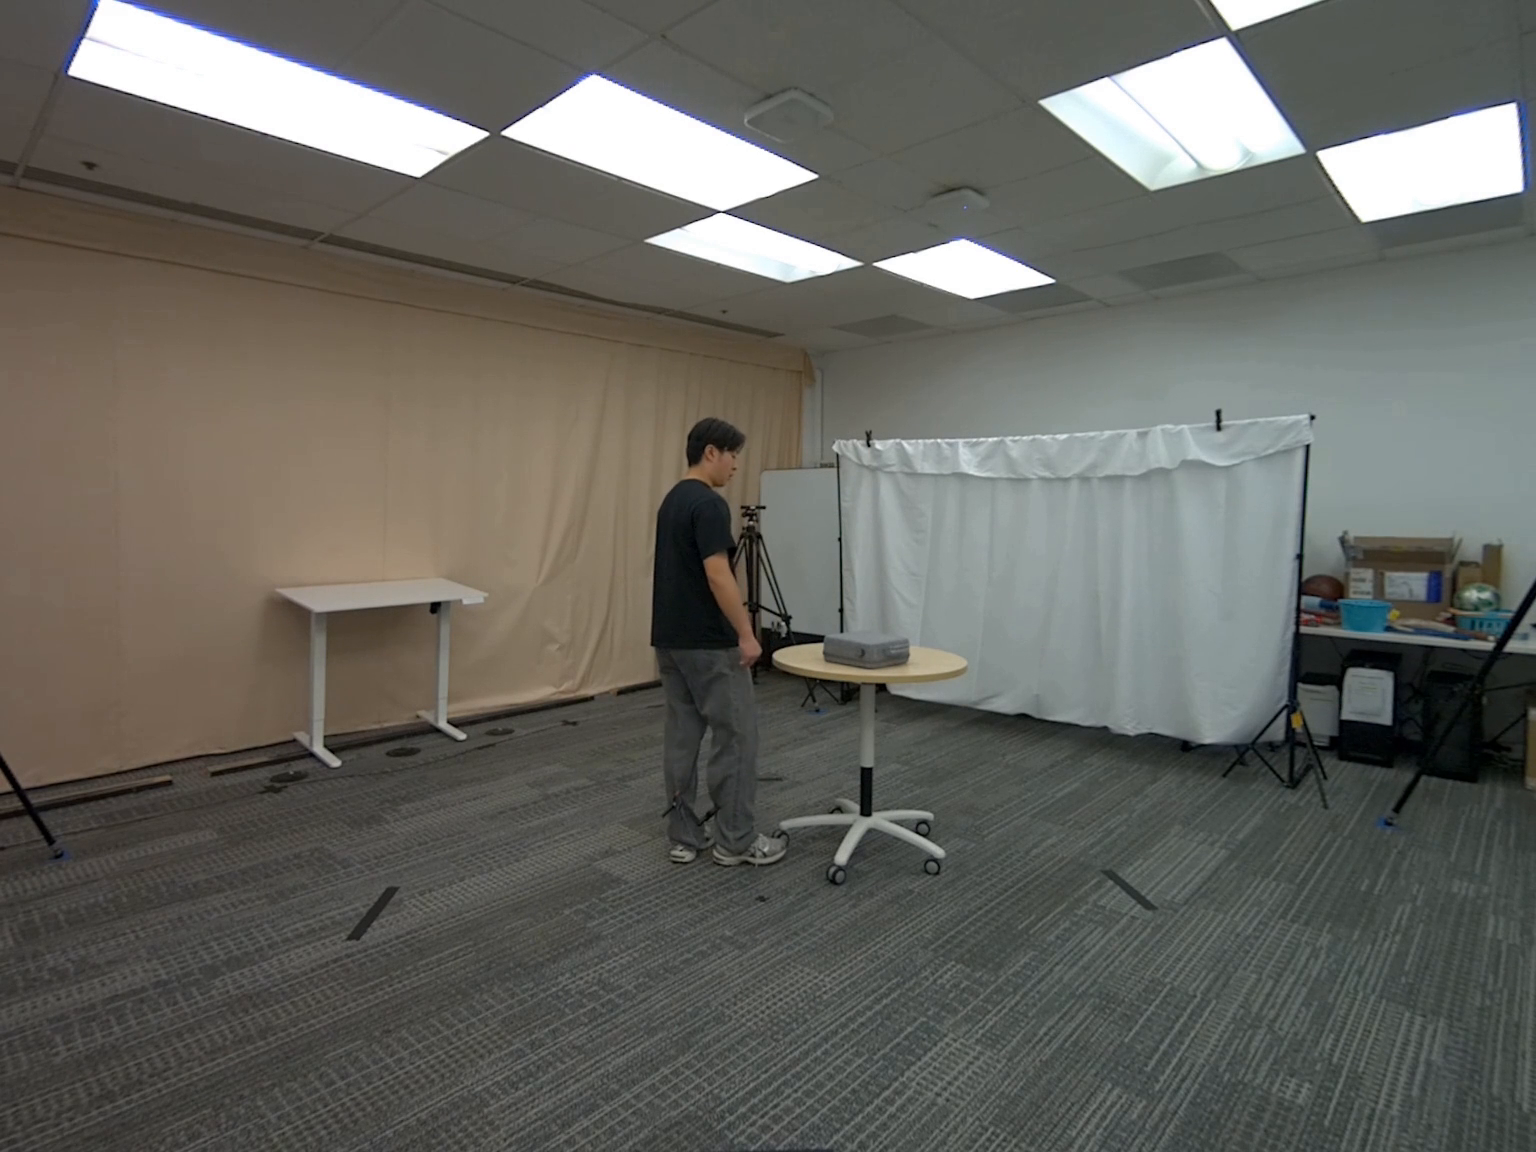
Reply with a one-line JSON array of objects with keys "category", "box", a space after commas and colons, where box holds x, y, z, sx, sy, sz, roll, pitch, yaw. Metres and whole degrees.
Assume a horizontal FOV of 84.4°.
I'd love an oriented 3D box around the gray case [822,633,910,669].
[{"category": "gray case", "box": [0.392, 0.284, 3.254, 0.255, 0.103, 0.297, -2, 5, -43]}]
